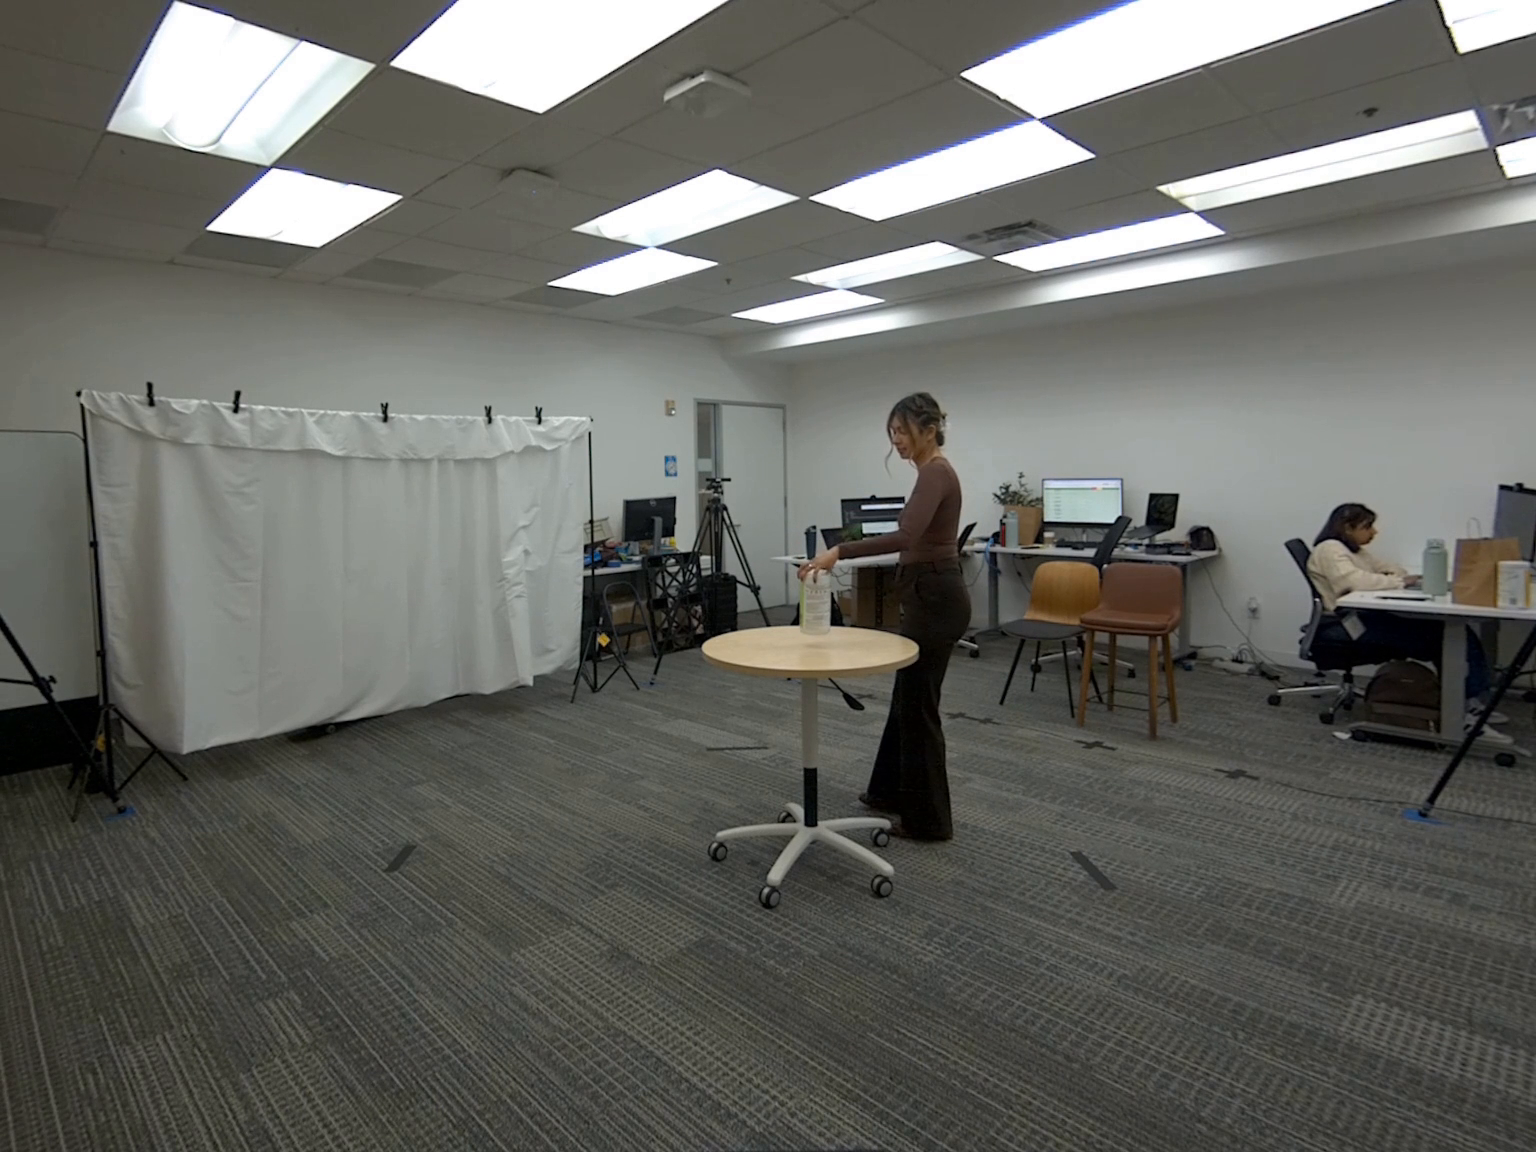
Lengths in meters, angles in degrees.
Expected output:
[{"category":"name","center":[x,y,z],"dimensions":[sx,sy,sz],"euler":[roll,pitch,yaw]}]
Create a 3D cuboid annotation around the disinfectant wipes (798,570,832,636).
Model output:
[{"category":"disinfectant wipes","center":[0.169,0.095,3.003],"dimensions":[0.117,0.215,0.119],"euler":[2,11,-2]}]
